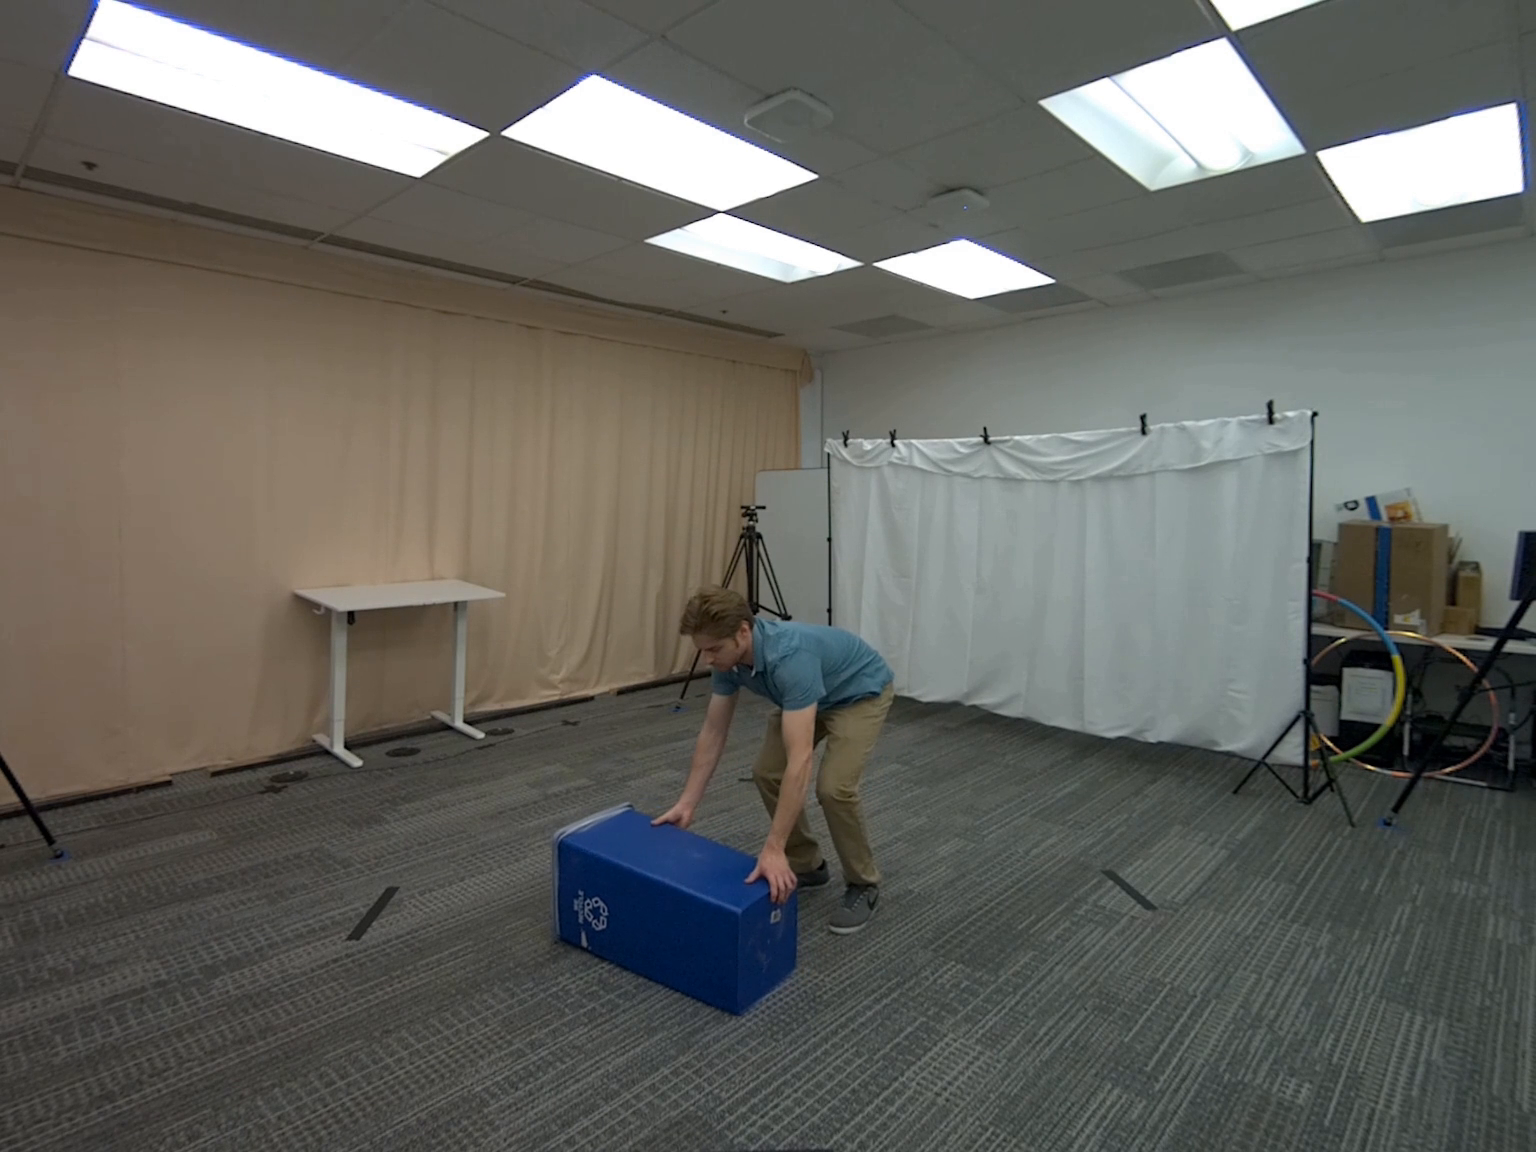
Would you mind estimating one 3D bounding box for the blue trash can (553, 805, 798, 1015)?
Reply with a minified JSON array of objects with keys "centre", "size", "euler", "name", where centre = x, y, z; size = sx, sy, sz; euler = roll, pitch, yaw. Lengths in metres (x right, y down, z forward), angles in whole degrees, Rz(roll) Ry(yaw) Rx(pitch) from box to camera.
[{"centre":[-0.287,1.015,2.613],"size":[0.737,0.377,0.363],"euler":[7,7,35],"name":"blue trash can"}]
